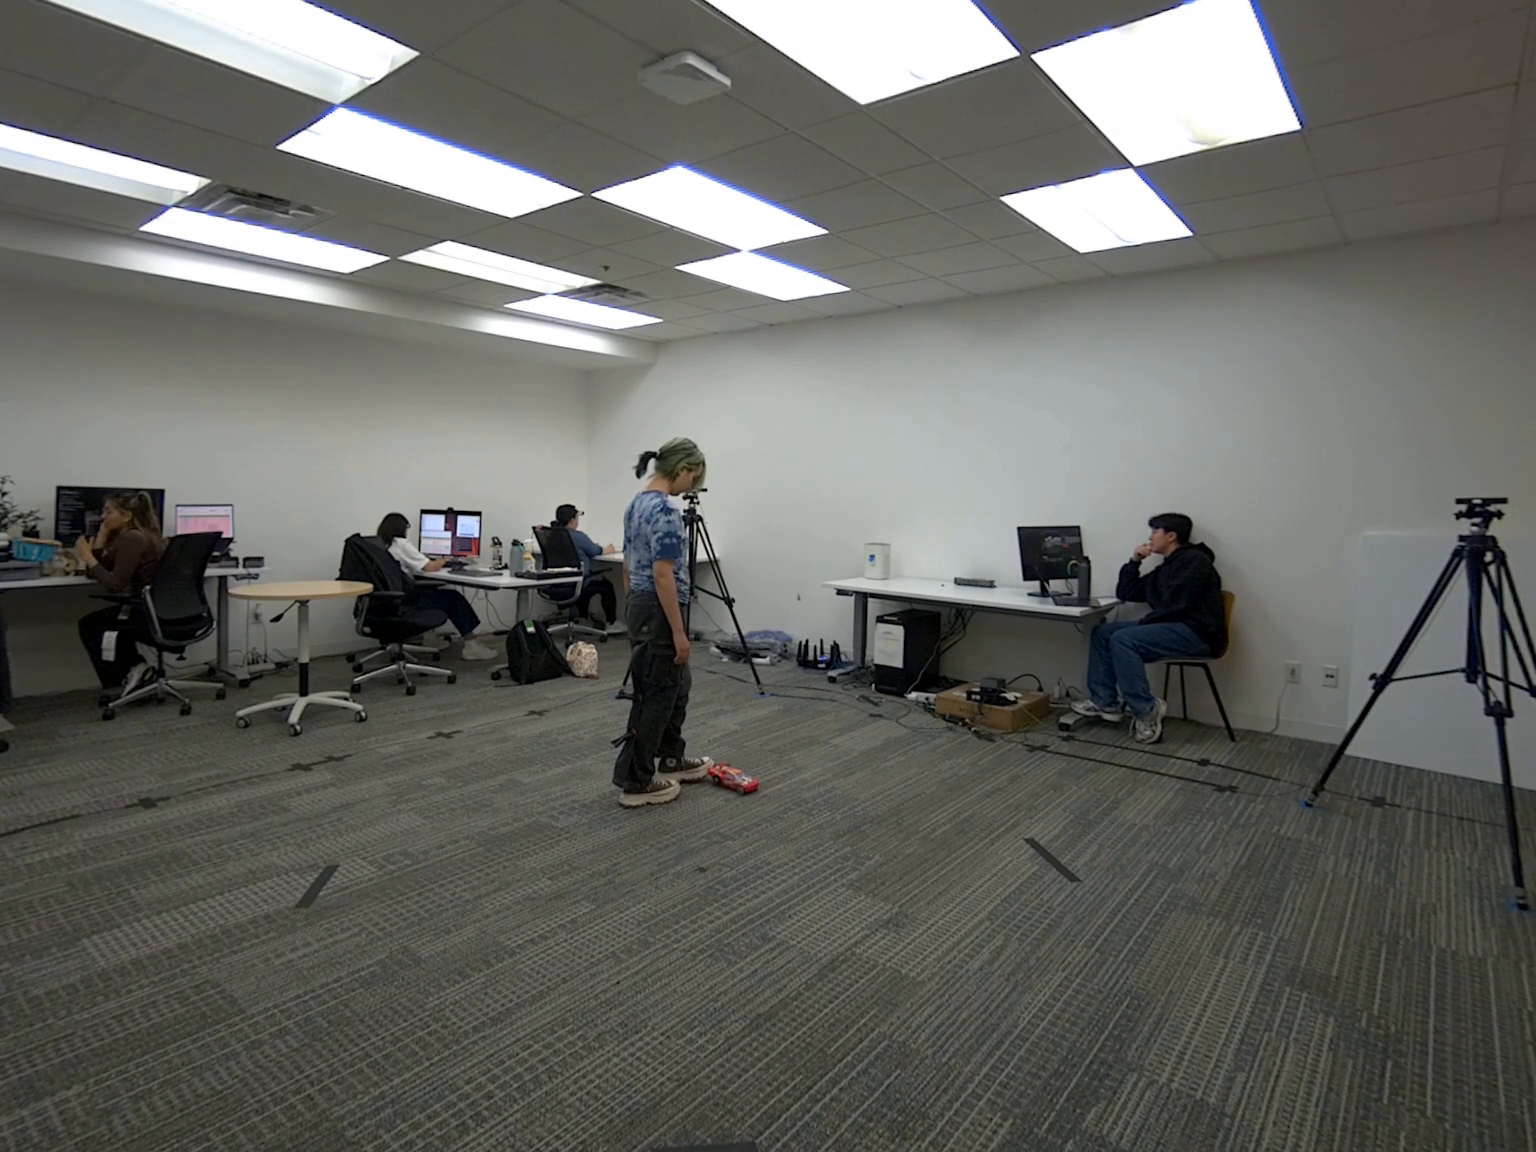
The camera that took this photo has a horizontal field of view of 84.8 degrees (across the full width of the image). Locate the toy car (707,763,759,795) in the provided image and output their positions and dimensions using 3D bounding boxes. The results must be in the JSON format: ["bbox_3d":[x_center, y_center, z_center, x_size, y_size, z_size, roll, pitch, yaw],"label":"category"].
[{"bbox_3d":[-0.182,0.943,3.979,0.265,0.082,0.126,24,17,38],"label":"toy car"}]
